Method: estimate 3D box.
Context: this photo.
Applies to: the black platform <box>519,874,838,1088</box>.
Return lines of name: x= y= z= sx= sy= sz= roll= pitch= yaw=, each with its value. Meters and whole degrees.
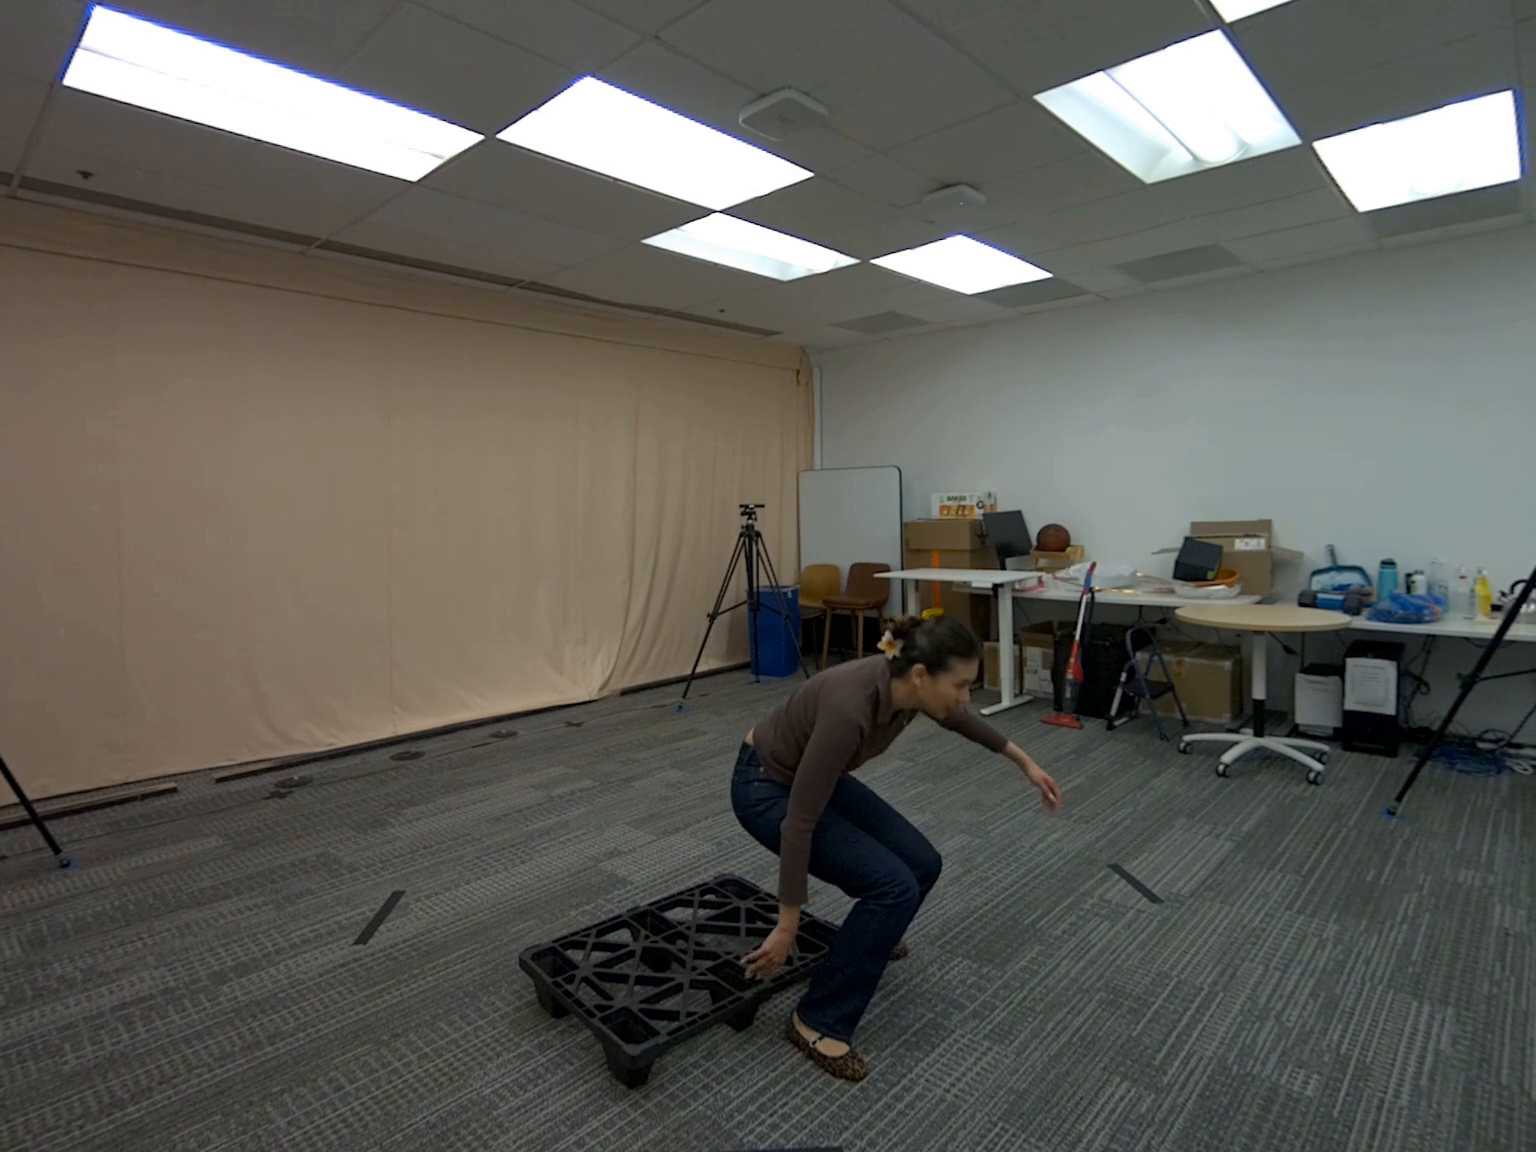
black platform: x=-0.223 y=1.125 z=2.418 sx=0.781 sy=0.143 sz=0.625 roll=-5 pitch=5 yaw=-41
